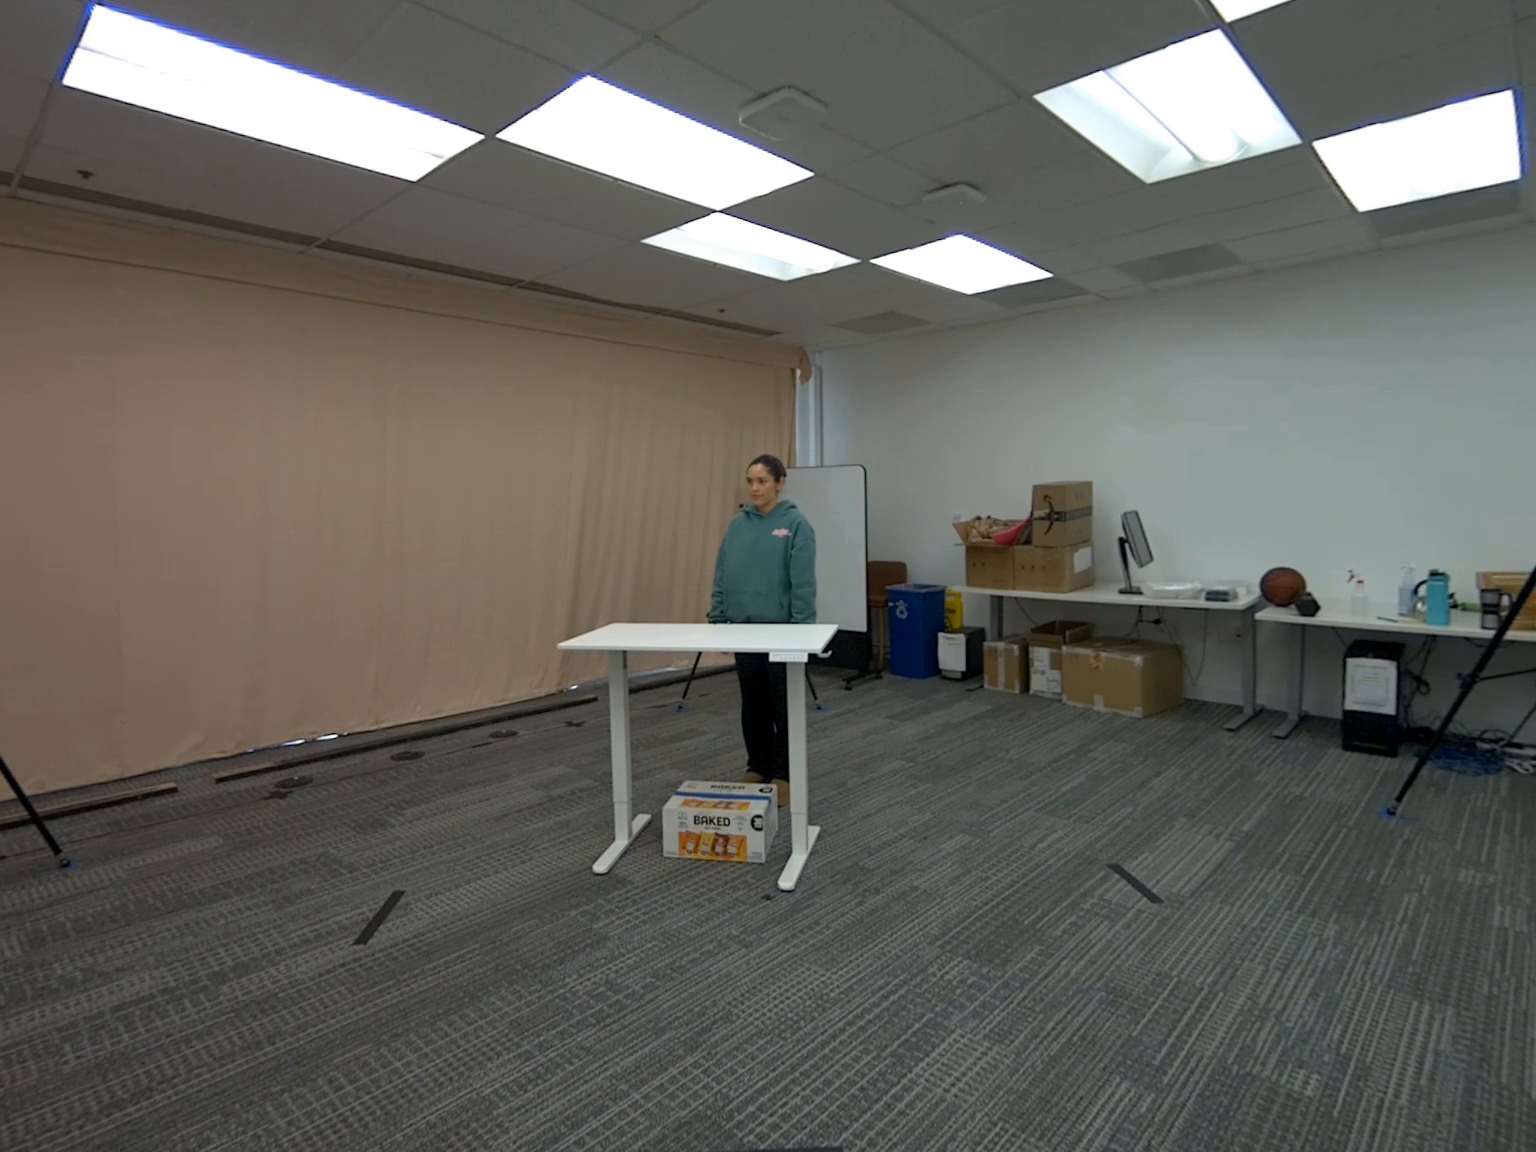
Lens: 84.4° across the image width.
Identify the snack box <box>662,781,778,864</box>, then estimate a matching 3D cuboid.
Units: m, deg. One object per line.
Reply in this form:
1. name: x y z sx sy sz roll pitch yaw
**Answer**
1. snack box: -0.187 1.001 3.455 0.410 0.205 0.337 -1 4 11
